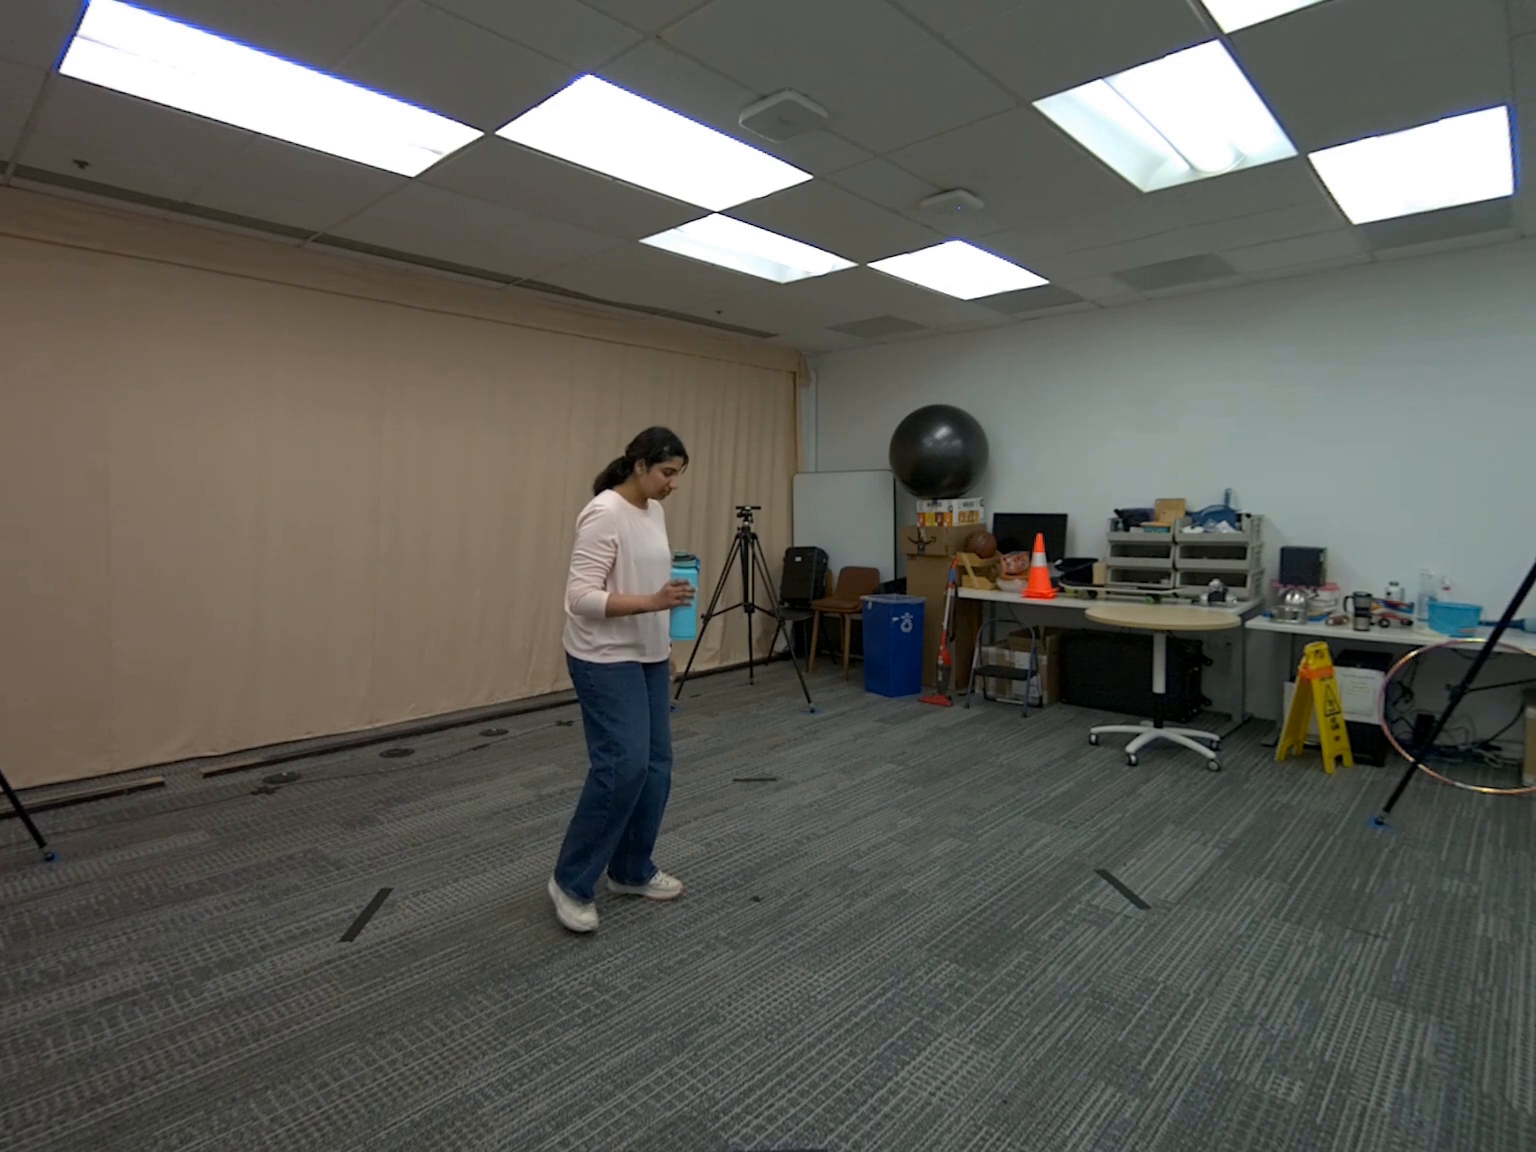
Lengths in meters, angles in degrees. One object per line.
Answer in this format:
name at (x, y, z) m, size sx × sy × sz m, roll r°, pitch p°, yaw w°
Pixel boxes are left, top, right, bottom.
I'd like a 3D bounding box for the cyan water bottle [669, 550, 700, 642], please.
cyan water bottle at (-0.265, 0.059, 2.705) m, size 0.092 × 0.283 × 0.092 m, roll 4°, pitch 3°, yaw -2°
